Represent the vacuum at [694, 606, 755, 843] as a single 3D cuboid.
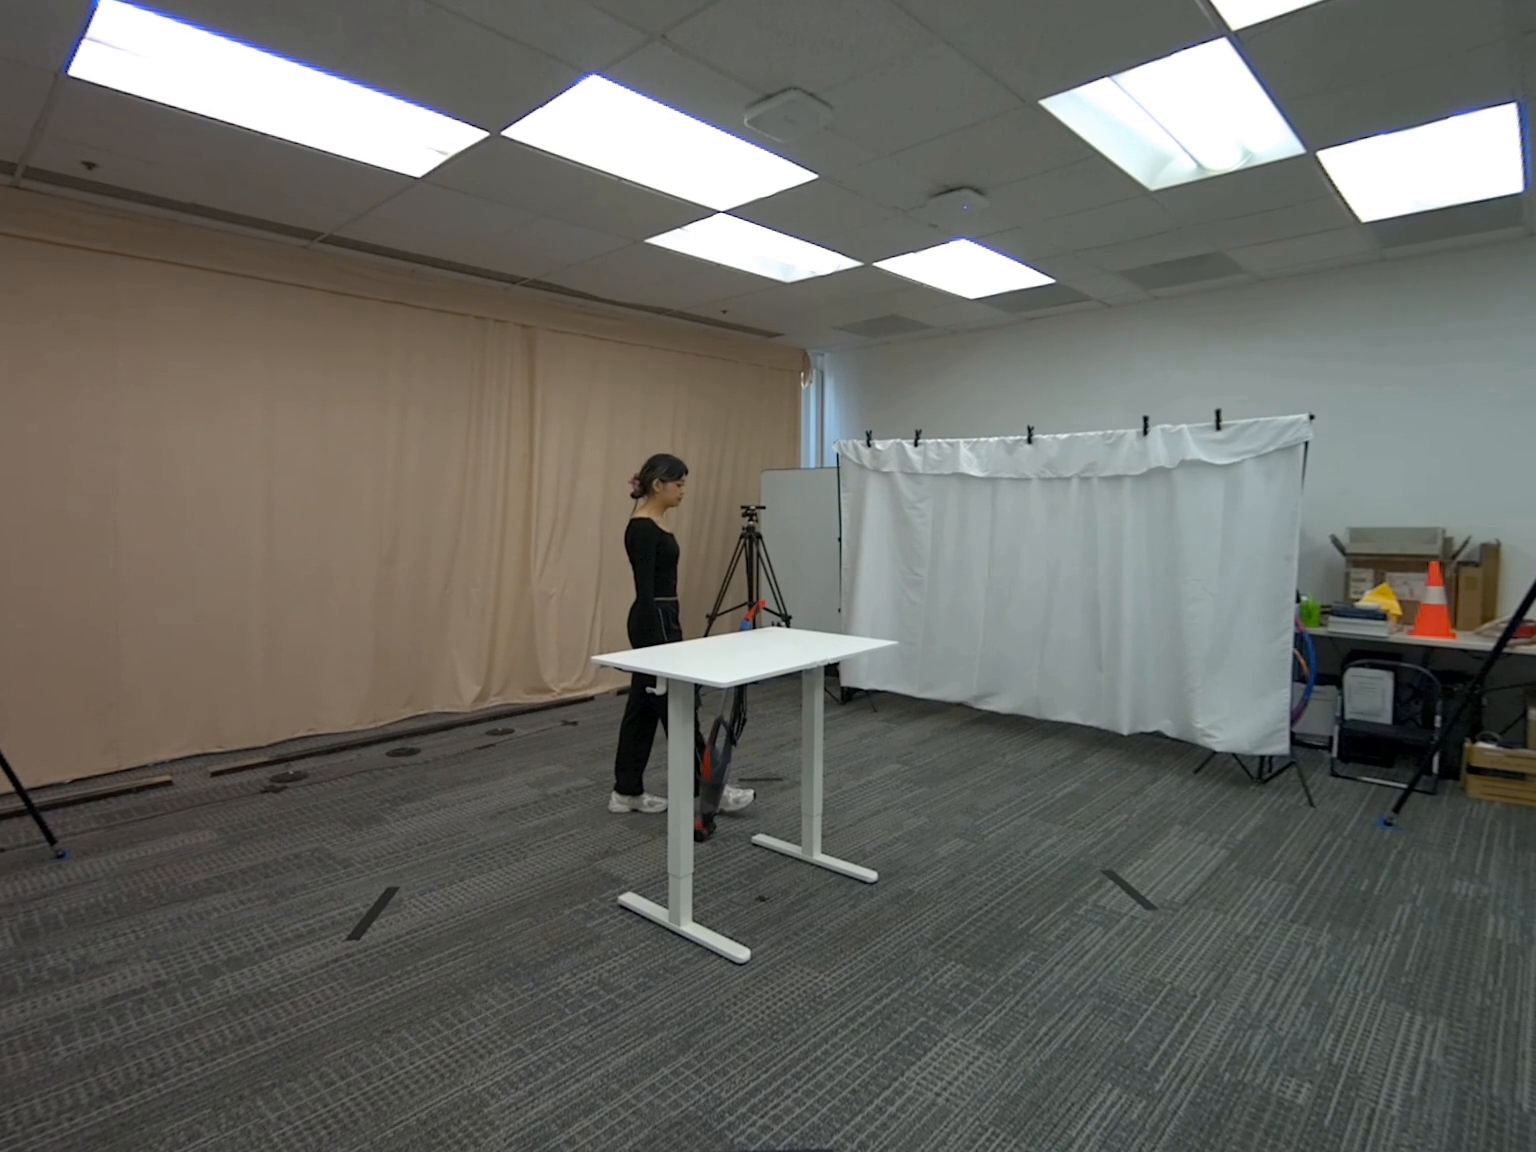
[{"bbox_3d":[-0.163,0.603,3.487,0.148,1.046,0.245,21,10,27],"label":"vacuum"}]
